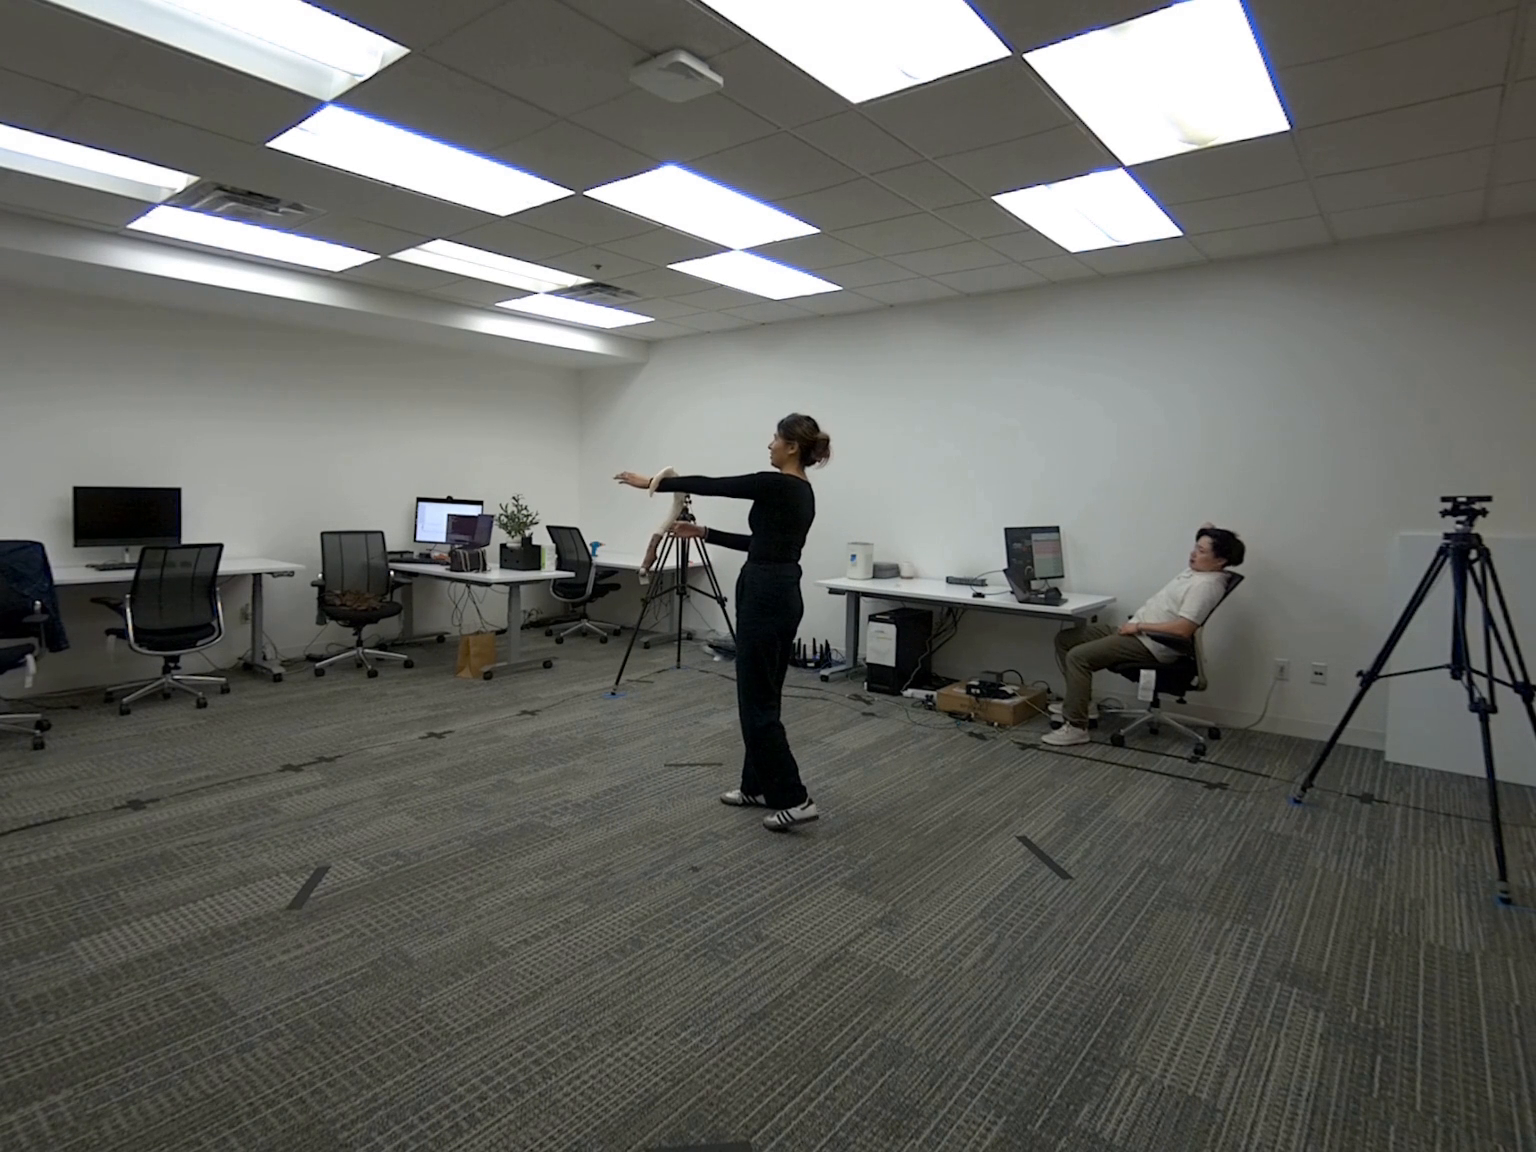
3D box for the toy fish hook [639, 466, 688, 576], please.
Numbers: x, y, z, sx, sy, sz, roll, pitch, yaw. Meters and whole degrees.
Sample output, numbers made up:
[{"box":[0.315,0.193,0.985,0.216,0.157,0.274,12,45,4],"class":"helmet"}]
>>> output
[{"box":[-0.489,-0.244,3.621,0.050,0.514,0.215,-5,-35,37],"class":"toy fish hook"}]
